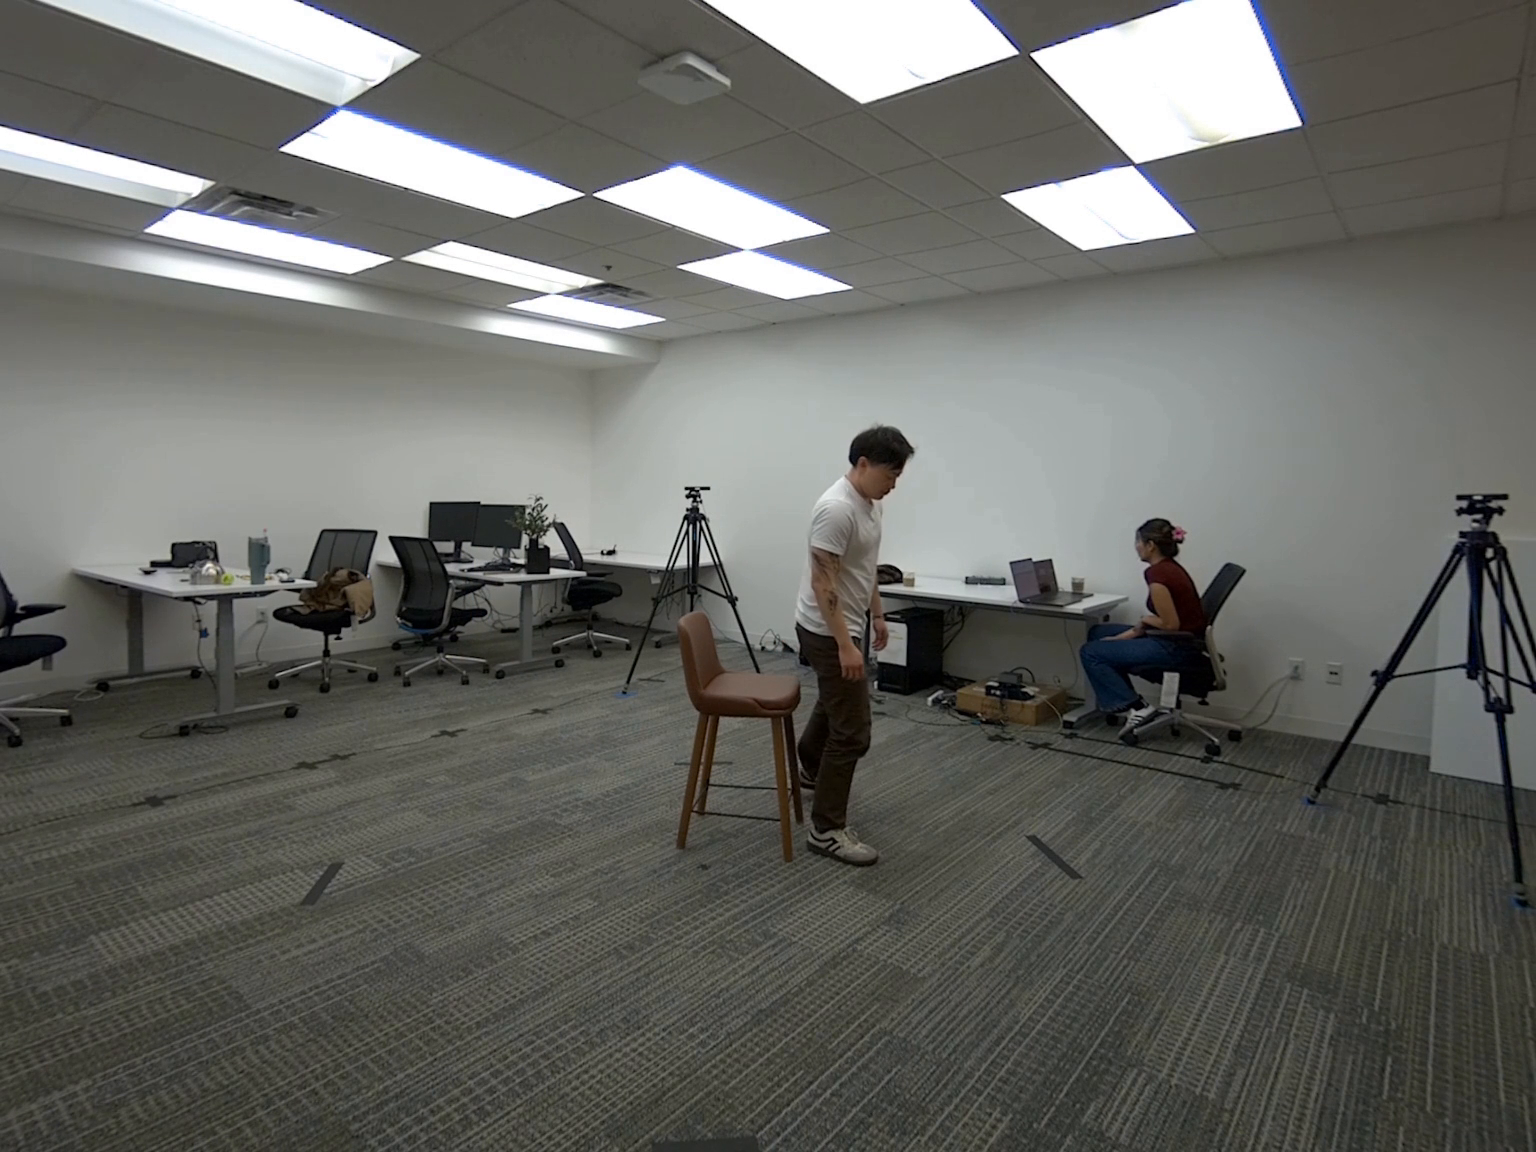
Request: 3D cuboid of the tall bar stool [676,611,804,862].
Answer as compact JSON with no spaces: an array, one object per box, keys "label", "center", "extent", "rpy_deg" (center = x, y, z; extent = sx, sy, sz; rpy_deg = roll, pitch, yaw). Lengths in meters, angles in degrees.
[{"label":"tall bar stool","center":[-0.110,0.605,3.400],"extent":[0.474,0.888,0.452],"rpy_deg":[0,3,12]}]
